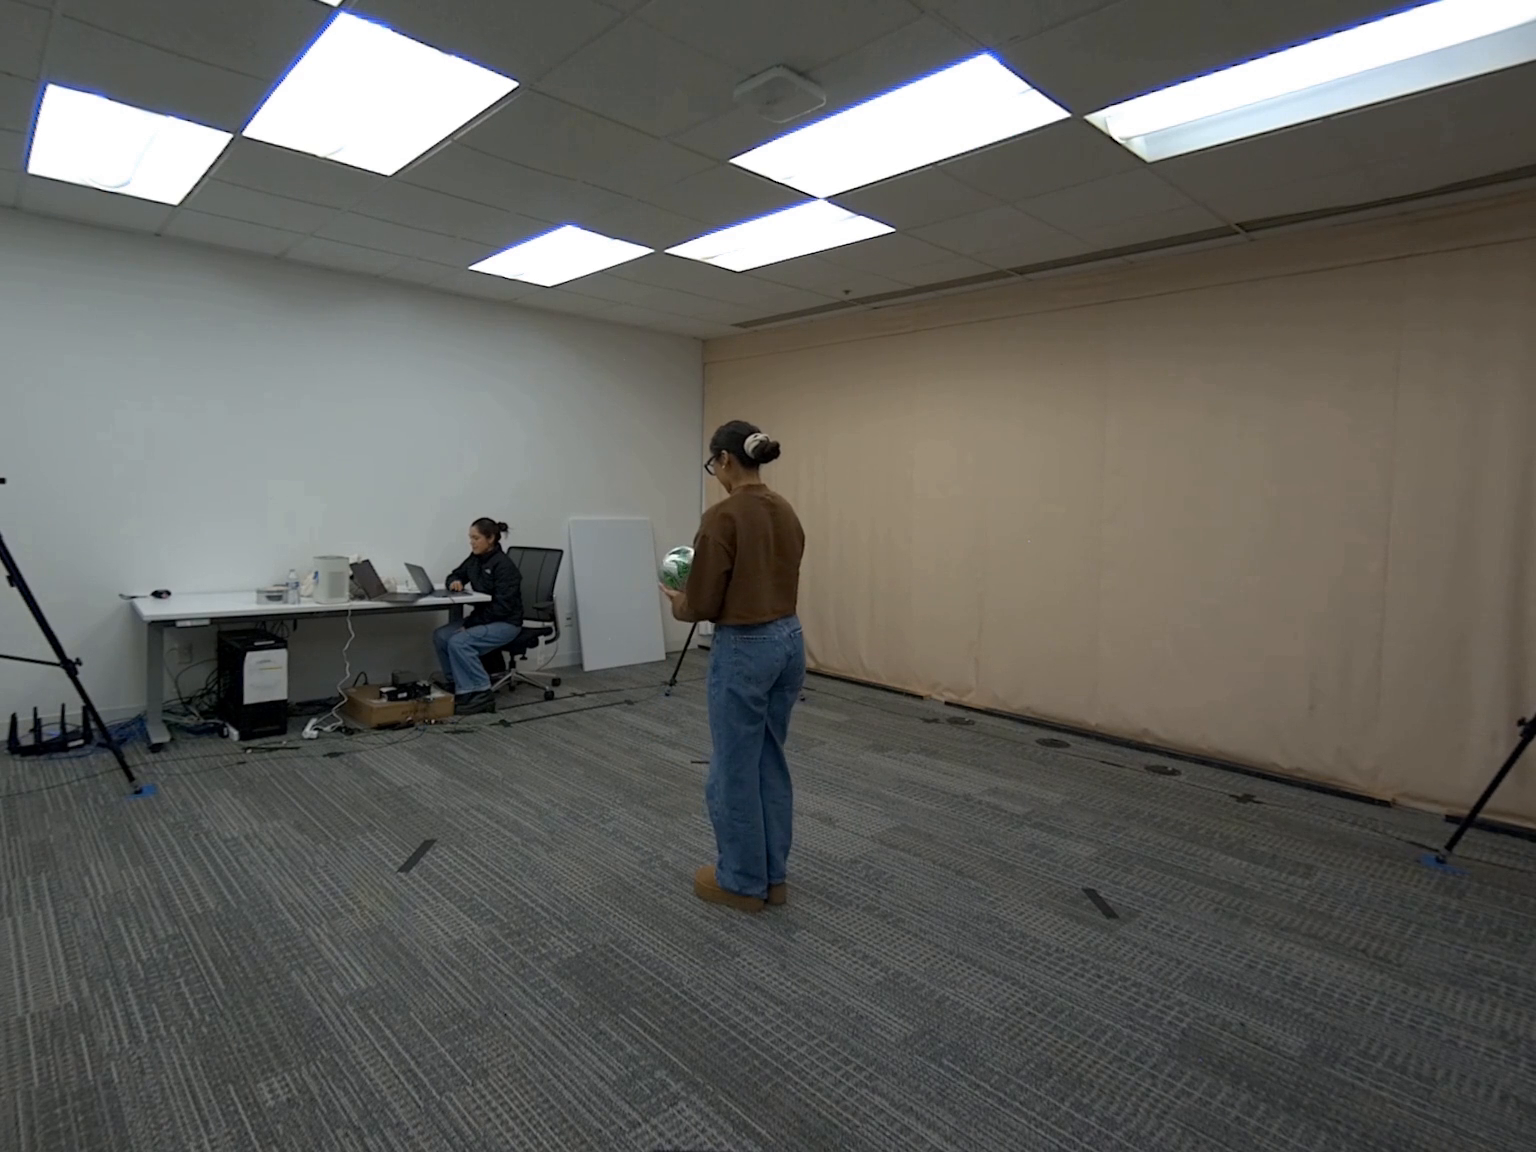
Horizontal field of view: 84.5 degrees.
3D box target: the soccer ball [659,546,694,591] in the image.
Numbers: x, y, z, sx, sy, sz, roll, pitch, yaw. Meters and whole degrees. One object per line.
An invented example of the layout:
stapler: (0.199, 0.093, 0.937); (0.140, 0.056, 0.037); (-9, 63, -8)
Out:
soccer ball: (-0.307, -0.009, 3.036); (0.187, 0.187, 0.188); (1, 4, -1)
